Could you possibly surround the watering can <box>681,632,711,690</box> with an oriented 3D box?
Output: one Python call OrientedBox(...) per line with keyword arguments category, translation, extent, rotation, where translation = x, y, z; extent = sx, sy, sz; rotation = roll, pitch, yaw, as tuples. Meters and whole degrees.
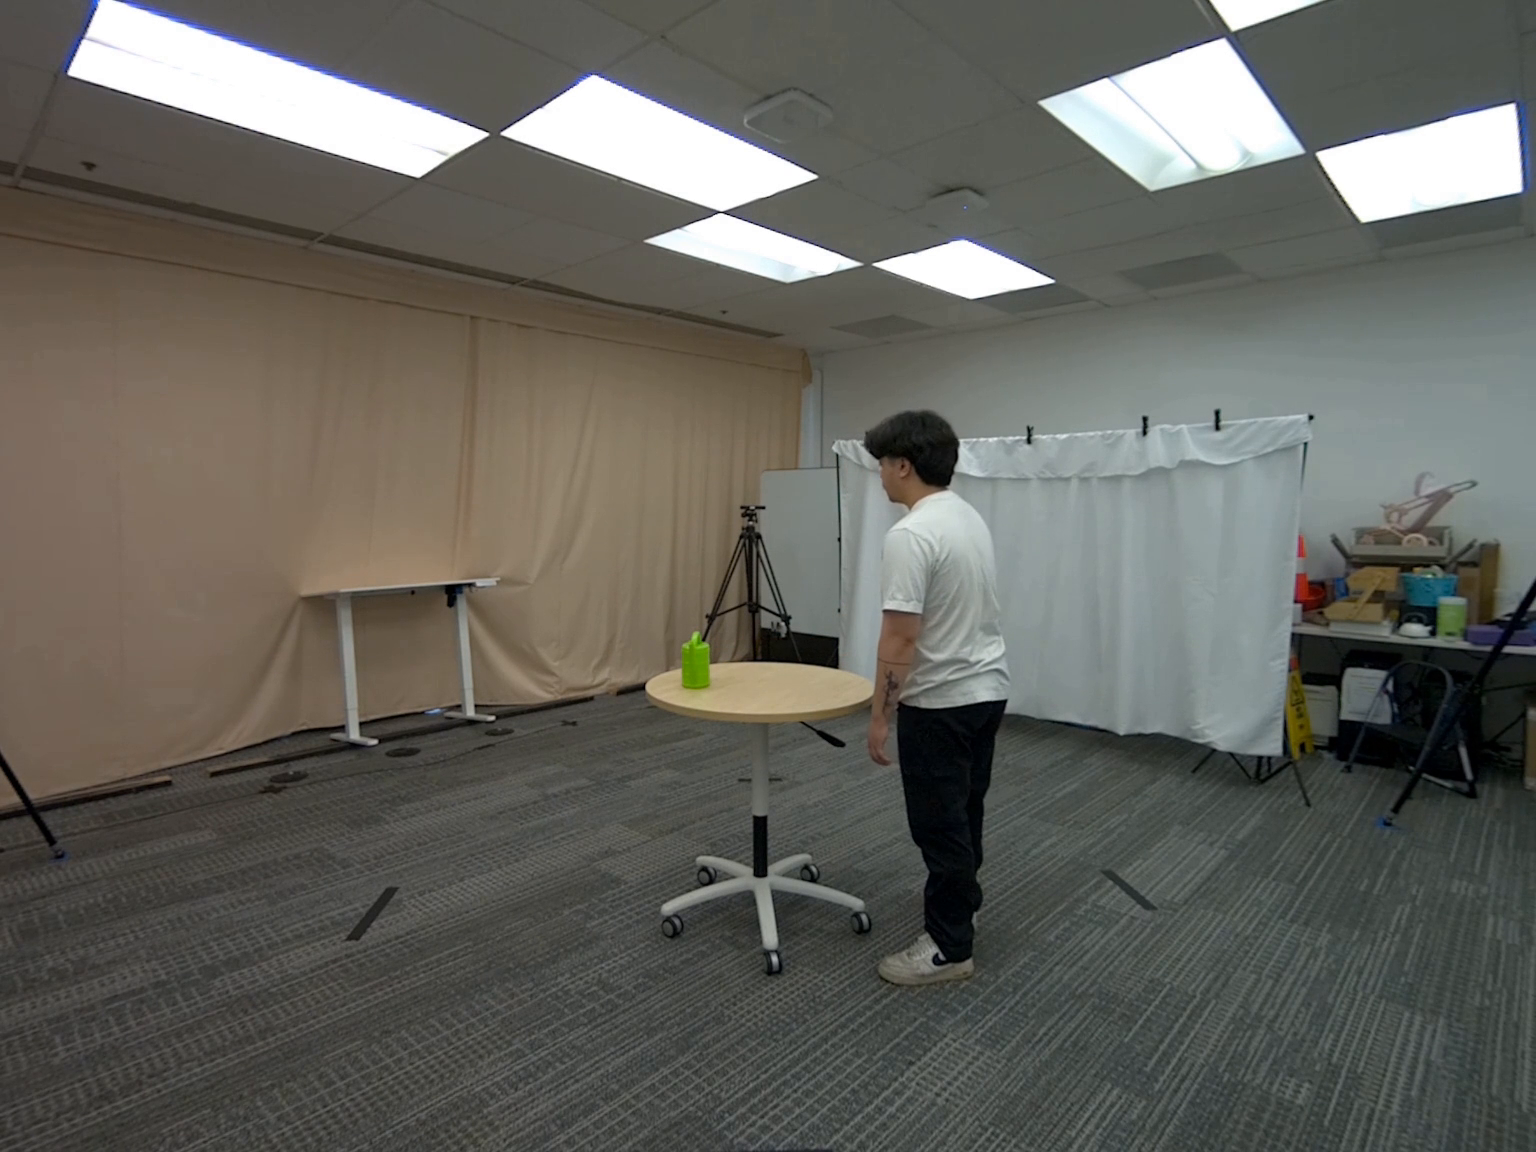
OrientedBox(category="watering can", translation=(-0.240, 0.284, 2.769), extent=(0.100, 0.176, 0.273), rotation=(3, 4, 18))
